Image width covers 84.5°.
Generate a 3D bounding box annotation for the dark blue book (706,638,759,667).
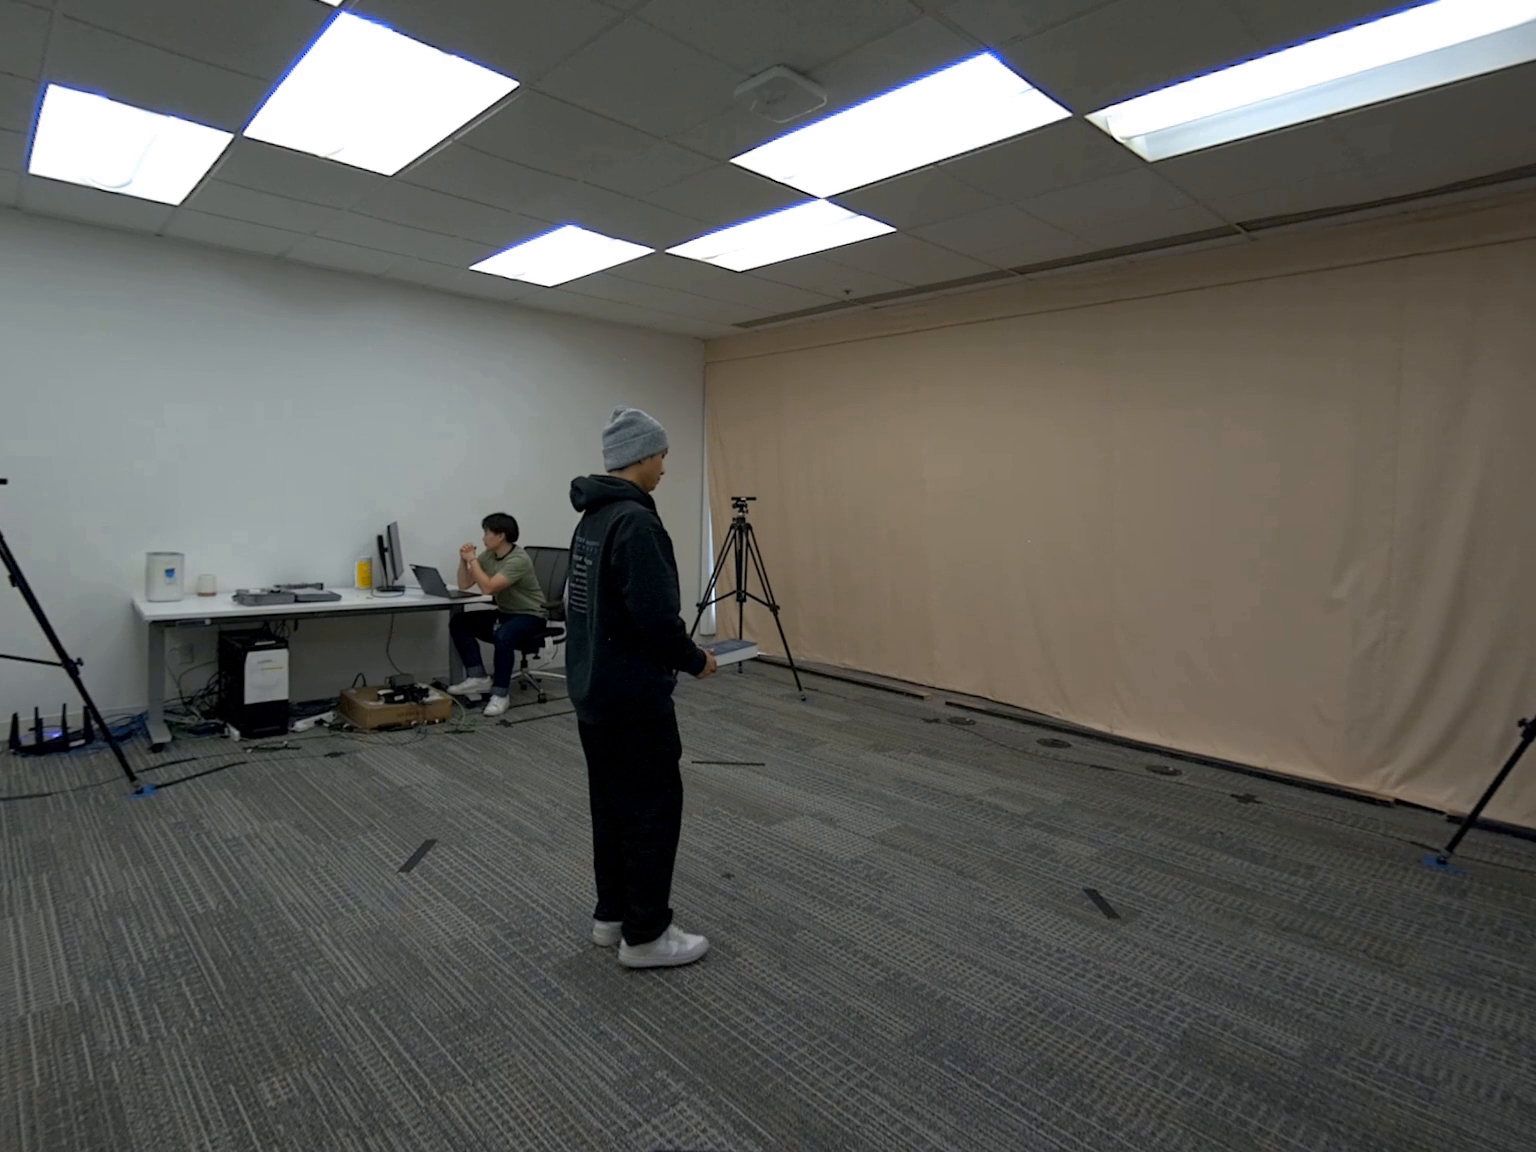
[{"bbox_3d":[-0.182,0.258,2.713,0.241,0.045,0.167,-11,9,-29],"label":"dark blue book"}]
